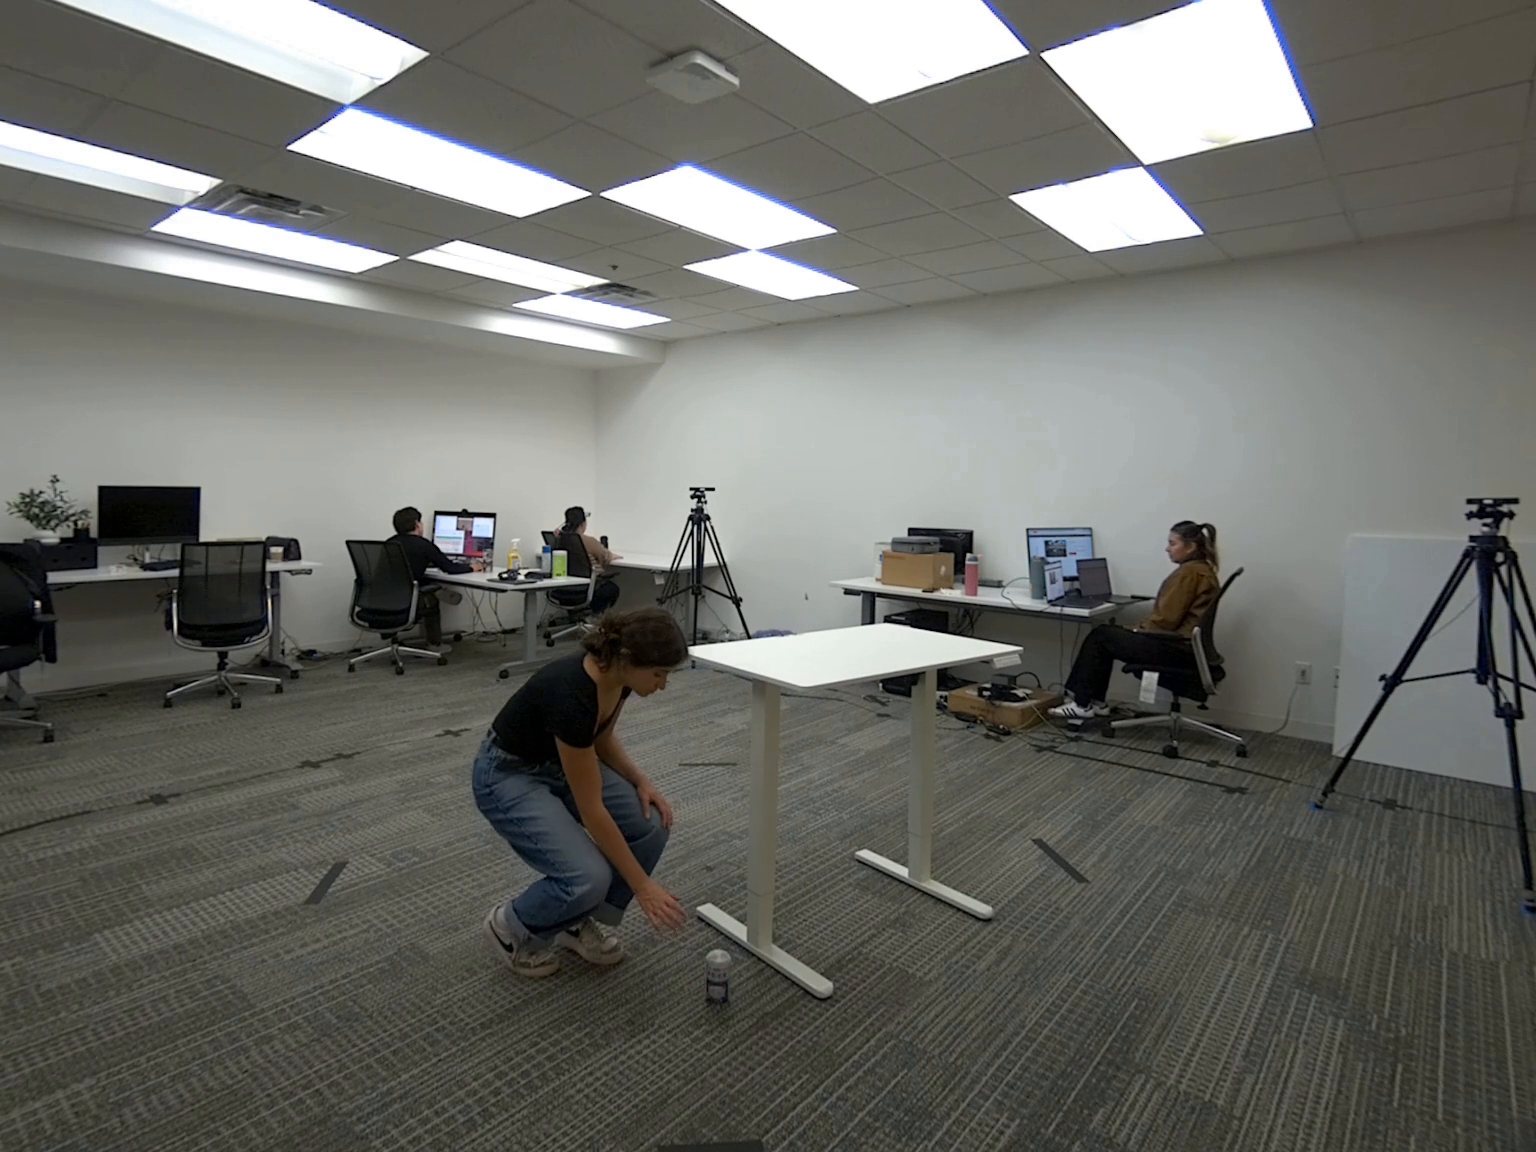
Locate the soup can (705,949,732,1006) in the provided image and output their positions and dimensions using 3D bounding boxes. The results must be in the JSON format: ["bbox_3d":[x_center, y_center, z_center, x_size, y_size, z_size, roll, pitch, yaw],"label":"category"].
[{"bbox_3d":[-0.146,1.091,2.308,0.067,0.121,0.068,2,7,-2],"label":"soup can"}]
